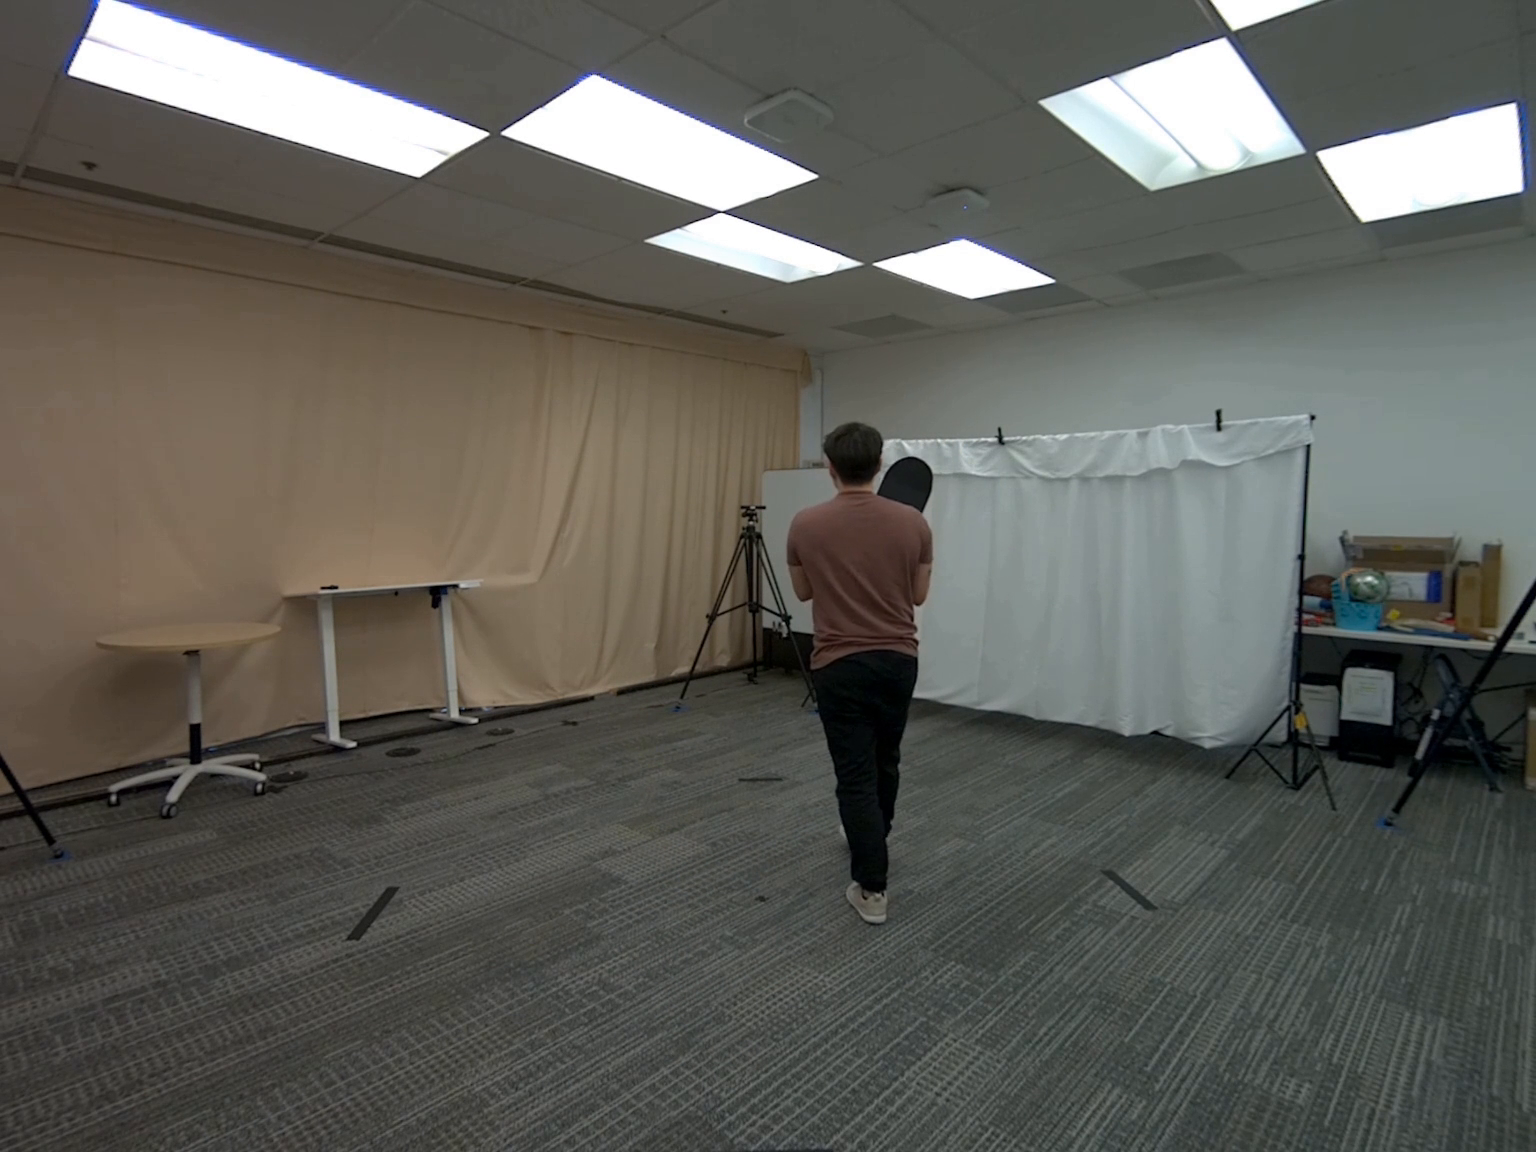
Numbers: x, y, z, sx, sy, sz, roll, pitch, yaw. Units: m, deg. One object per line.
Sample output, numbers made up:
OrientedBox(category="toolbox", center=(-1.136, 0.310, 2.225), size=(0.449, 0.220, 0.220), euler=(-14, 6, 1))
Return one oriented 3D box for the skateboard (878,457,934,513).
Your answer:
OrientedBox(category="skateboard", center=(0.431, -0.092, 3.291), size=(0.195, 0.785, 0.109), euler=(23, 5, 5))
